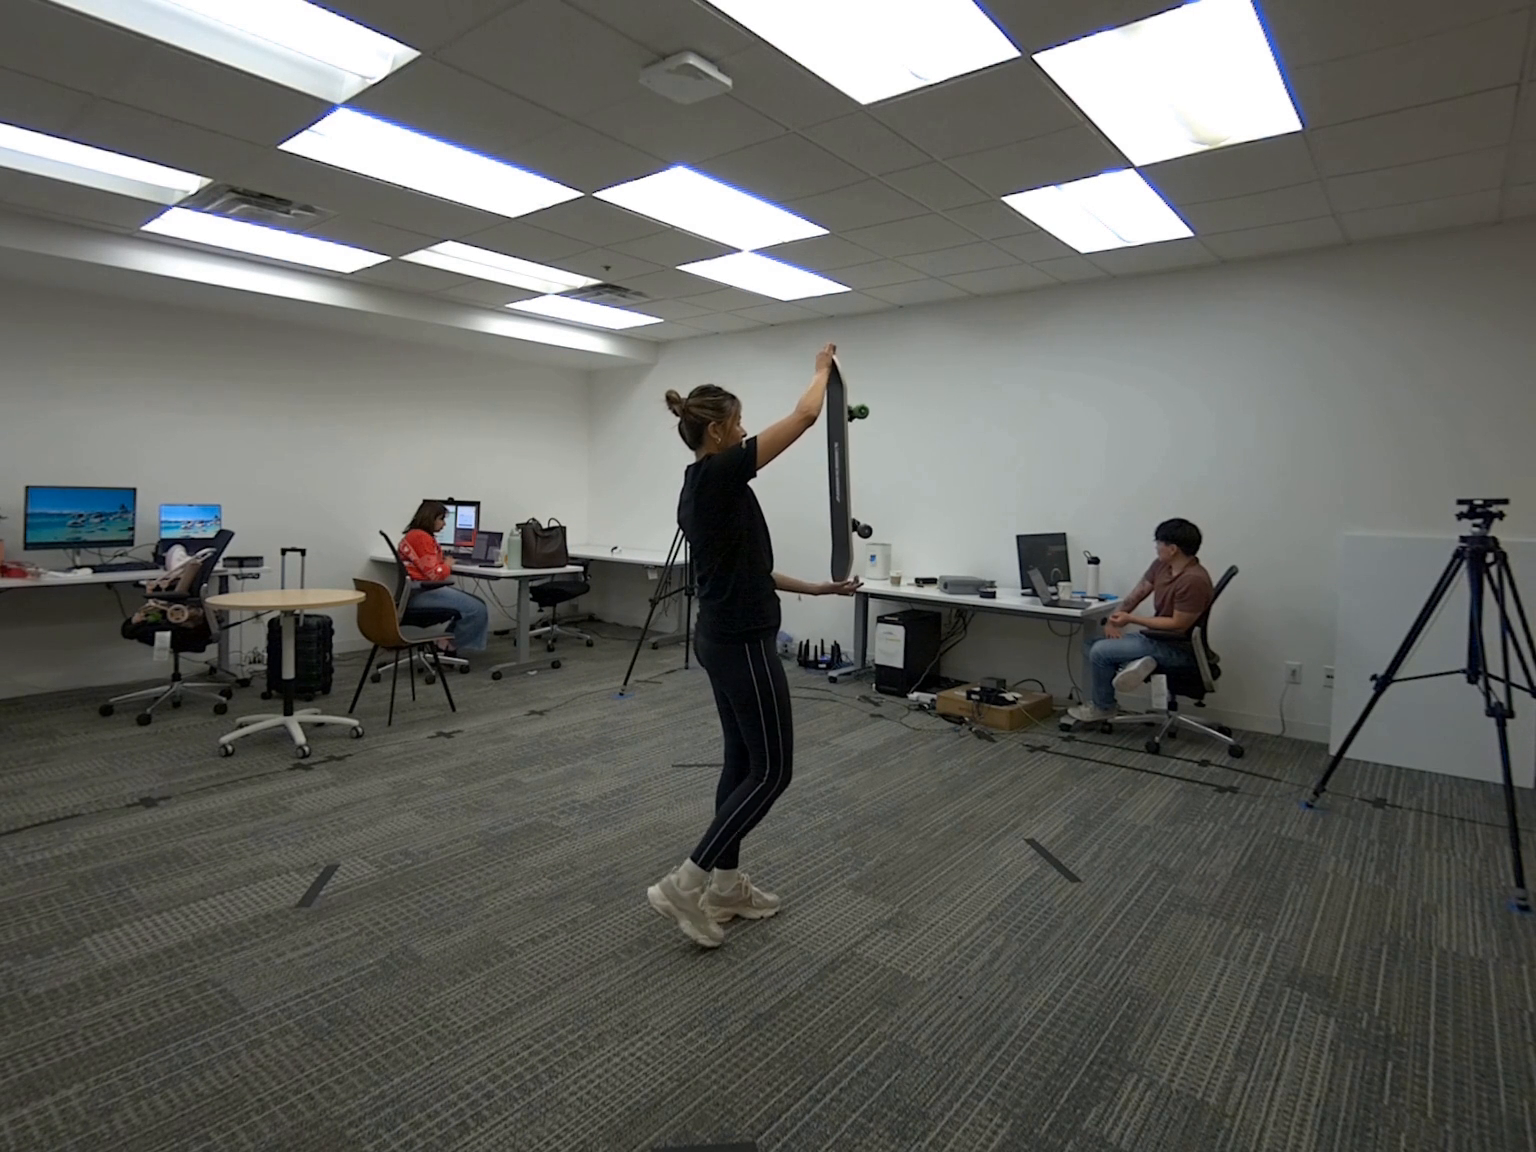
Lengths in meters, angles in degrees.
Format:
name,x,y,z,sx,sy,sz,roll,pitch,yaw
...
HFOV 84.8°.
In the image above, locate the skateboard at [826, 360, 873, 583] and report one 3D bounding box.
name,x,y,z,sx,sy,sz,roll,pitch,yaw
skateboard,0.261,-0.354,2.881,0.109,0.778,0.197,-5,9,-10
